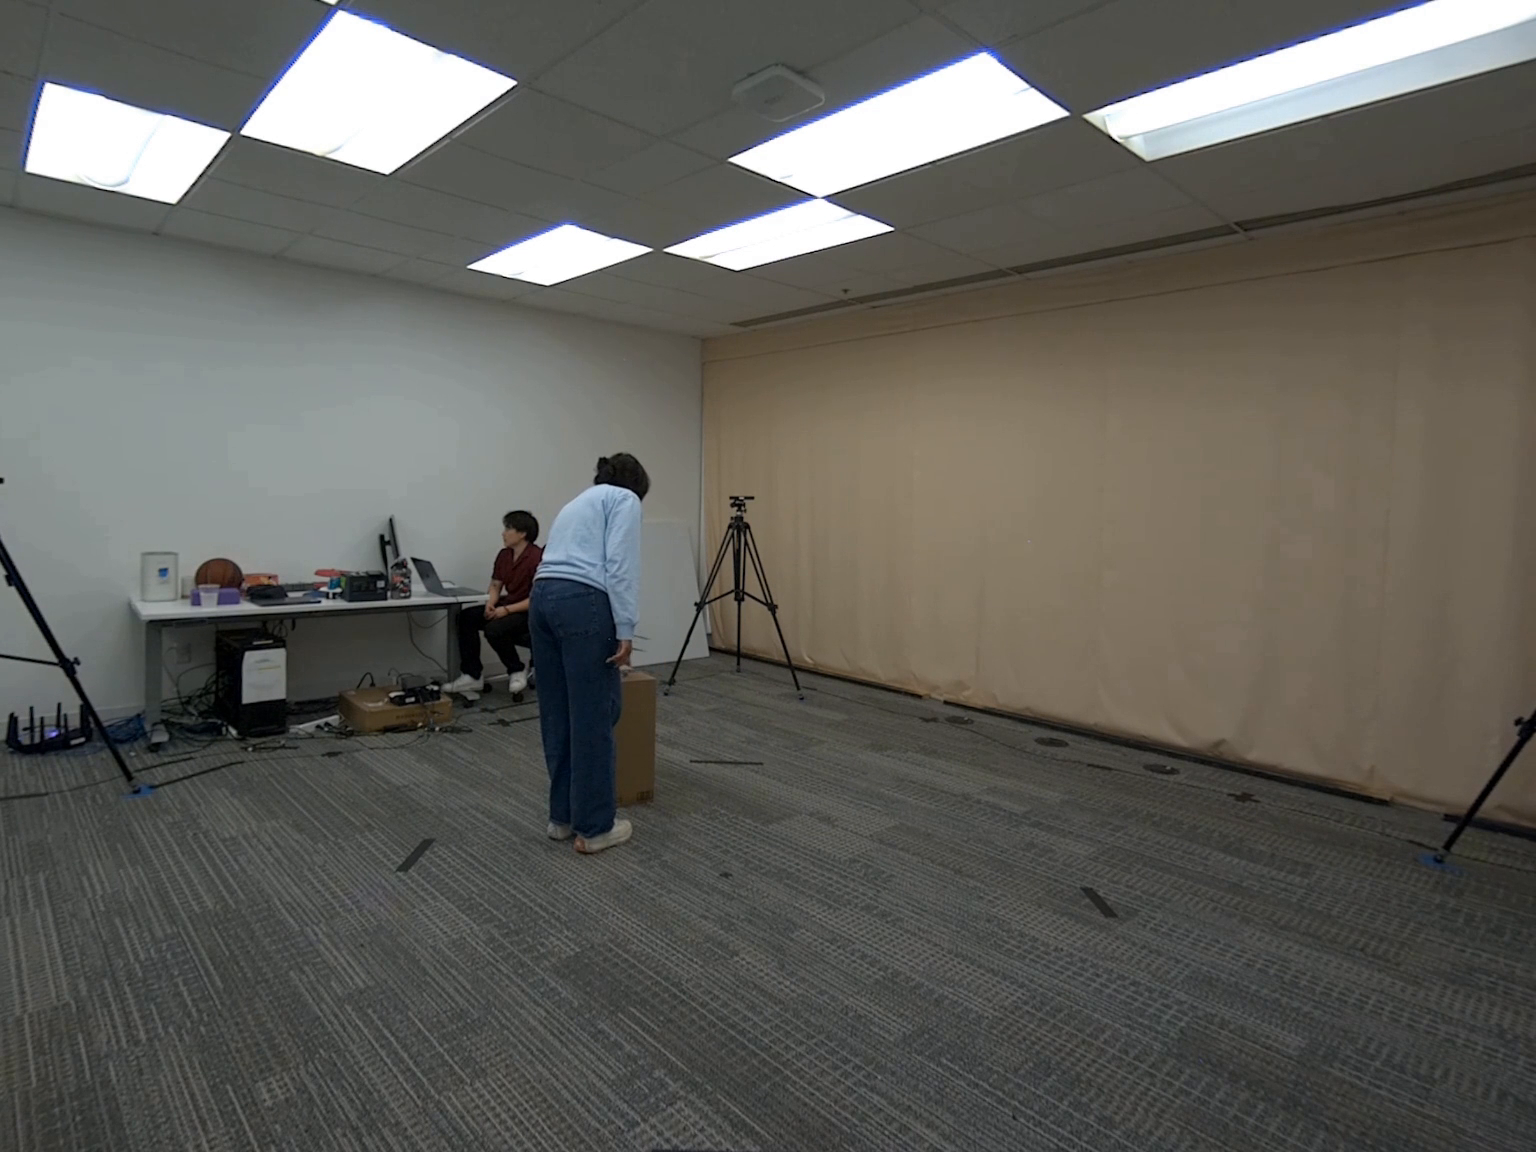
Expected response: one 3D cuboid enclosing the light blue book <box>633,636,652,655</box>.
[{"bbox_3d":[-0.682,0.296,3.896,0.187,0.059,0.266,19,-10,-29],"label":"light blue book"}]
